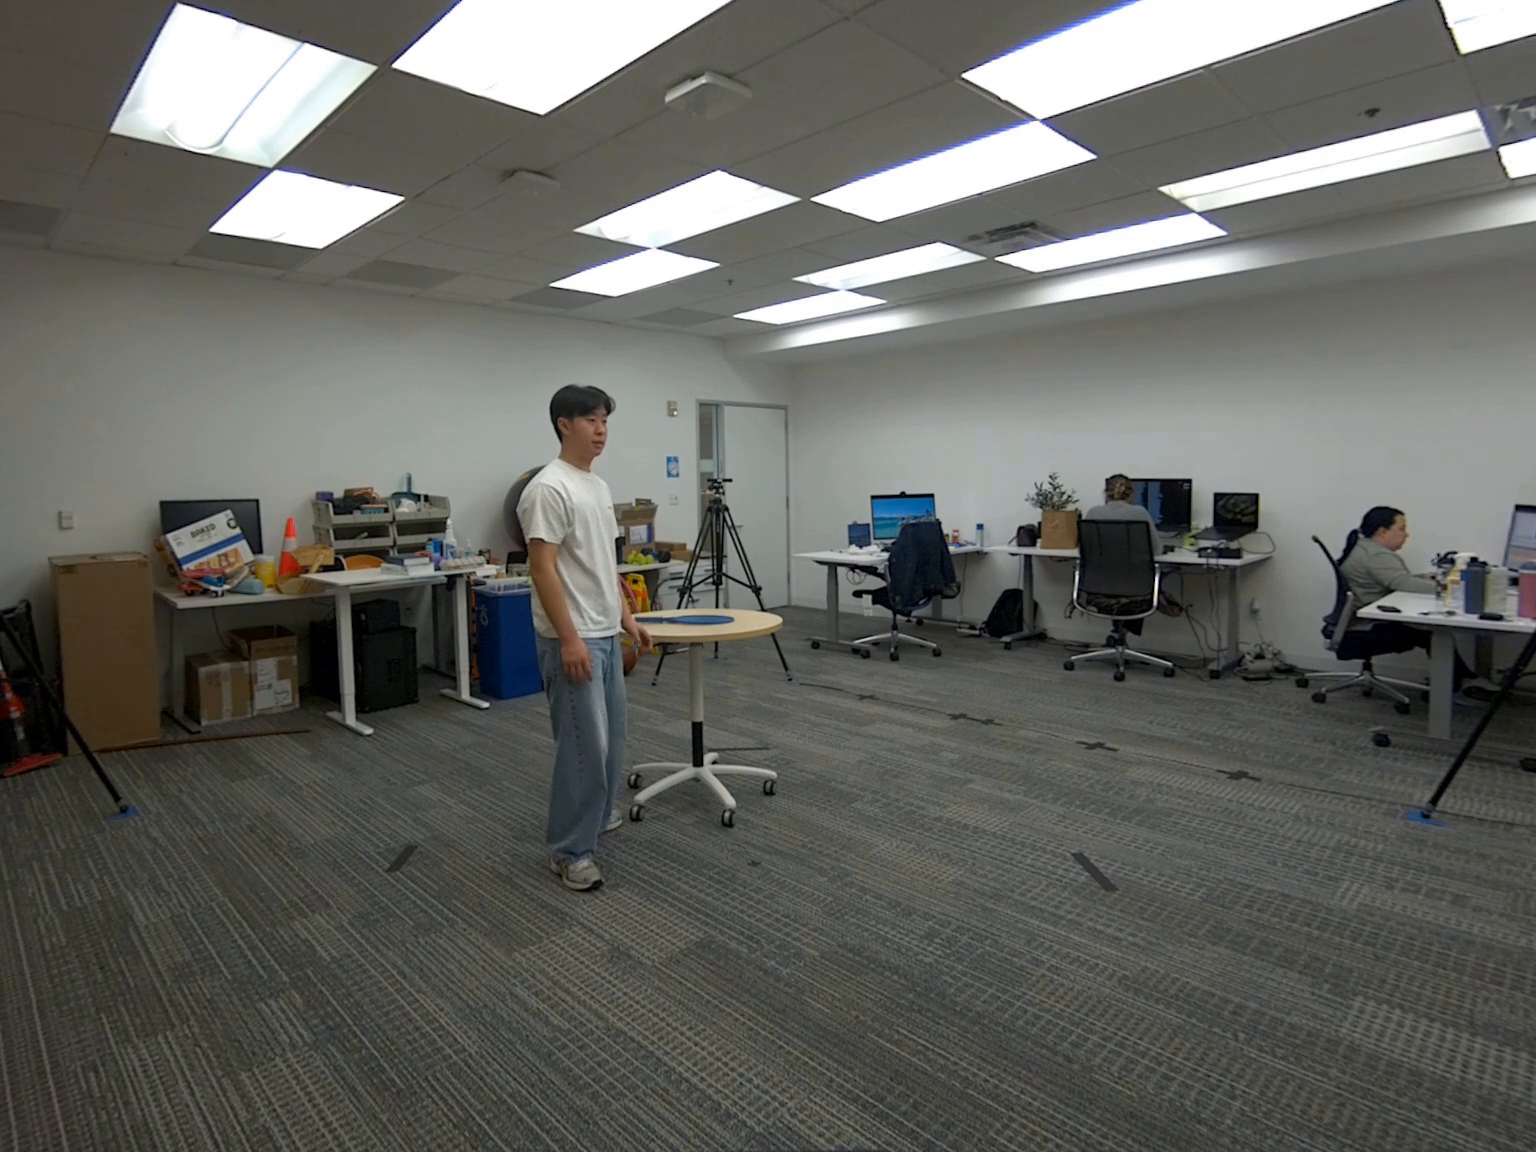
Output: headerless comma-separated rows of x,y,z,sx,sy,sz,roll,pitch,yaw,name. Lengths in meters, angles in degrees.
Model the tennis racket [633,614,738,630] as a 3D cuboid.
-0.364,0.195,3.695,0.429,0.031,0.216,0,5,-8,tennis racket
